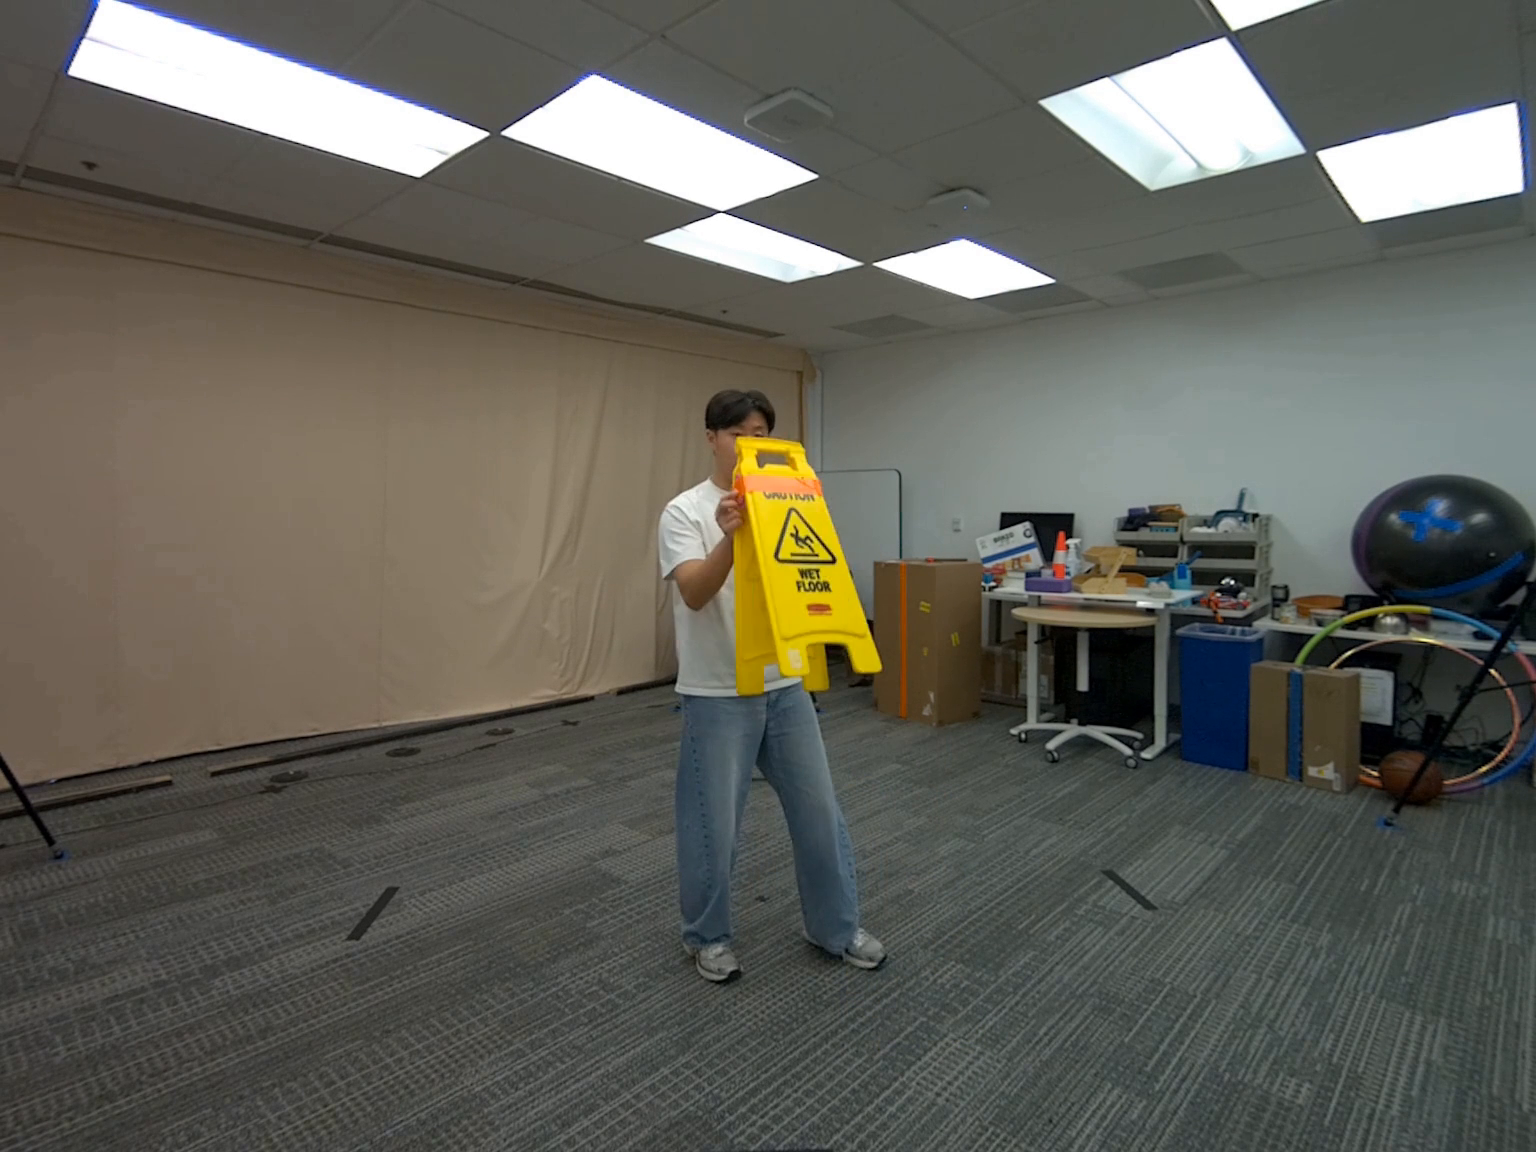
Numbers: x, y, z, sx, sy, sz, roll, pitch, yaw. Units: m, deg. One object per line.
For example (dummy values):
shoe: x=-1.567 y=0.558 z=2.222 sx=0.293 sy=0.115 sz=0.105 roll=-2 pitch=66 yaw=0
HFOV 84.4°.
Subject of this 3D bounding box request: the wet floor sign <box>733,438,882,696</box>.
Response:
wet floor sign: x=0.068 y=-0.032 z=2.143 sx=0.275 sy=0.654 sz=0.294 roll=2 pitch=-19 yaw=-28
